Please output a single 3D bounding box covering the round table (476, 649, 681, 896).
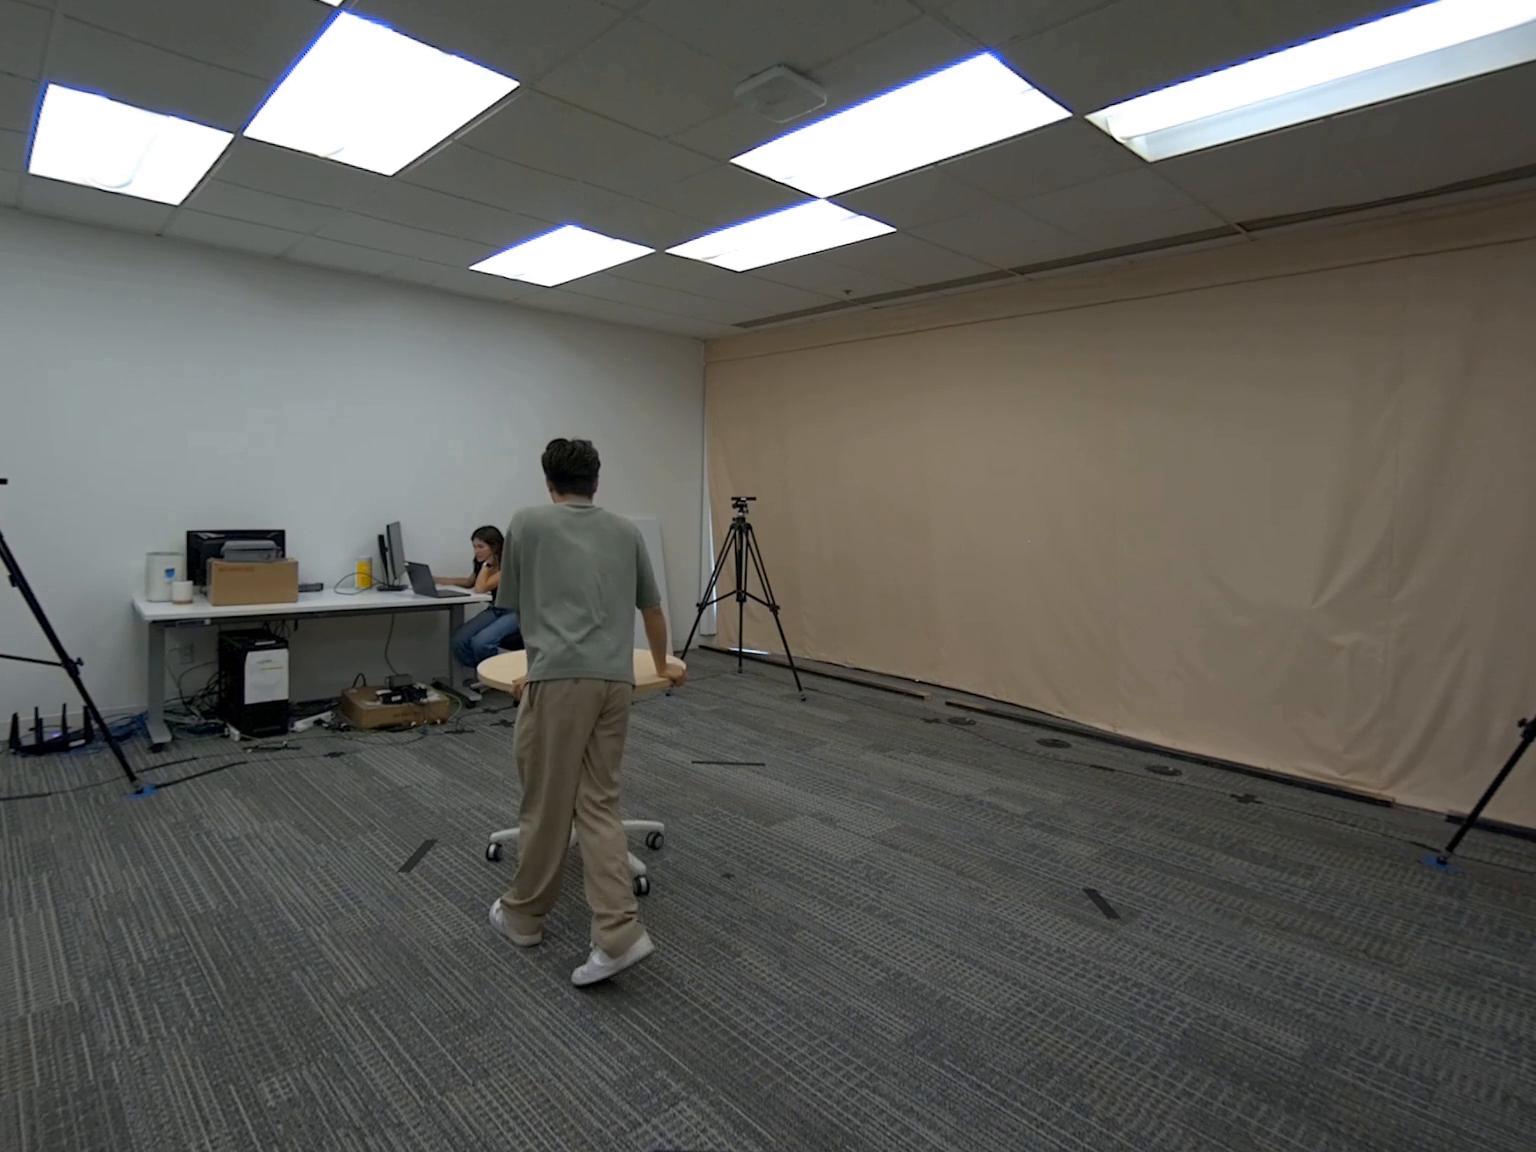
[{"bbox_3d":[-0.682,0.713,3.166,0.784,0.784,0.788,1,5,-1],"label":"round table"}]
